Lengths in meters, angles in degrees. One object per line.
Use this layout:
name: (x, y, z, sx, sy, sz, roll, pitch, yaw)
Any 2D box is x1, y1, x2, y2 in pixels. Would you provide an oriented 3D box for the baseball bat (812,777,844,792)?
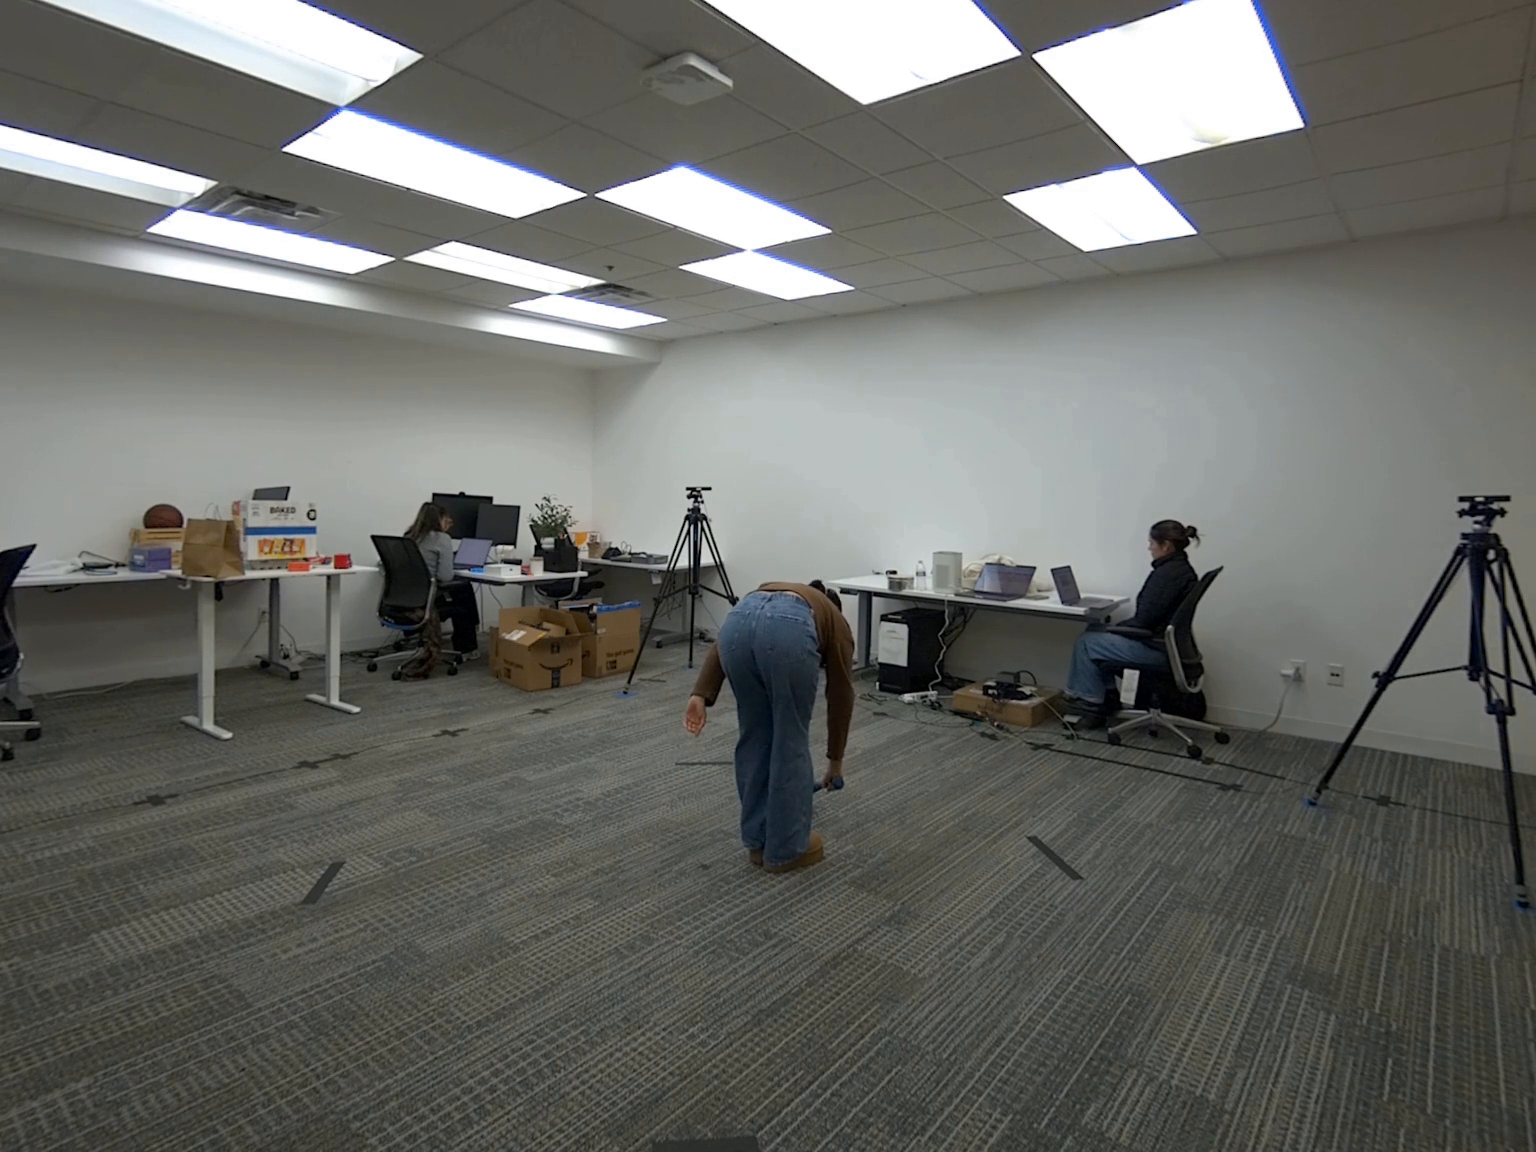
baseball bat: (0.164, 0.885, 3.585, 0.087, 0.090, 0.545, 0, -14, -20)
